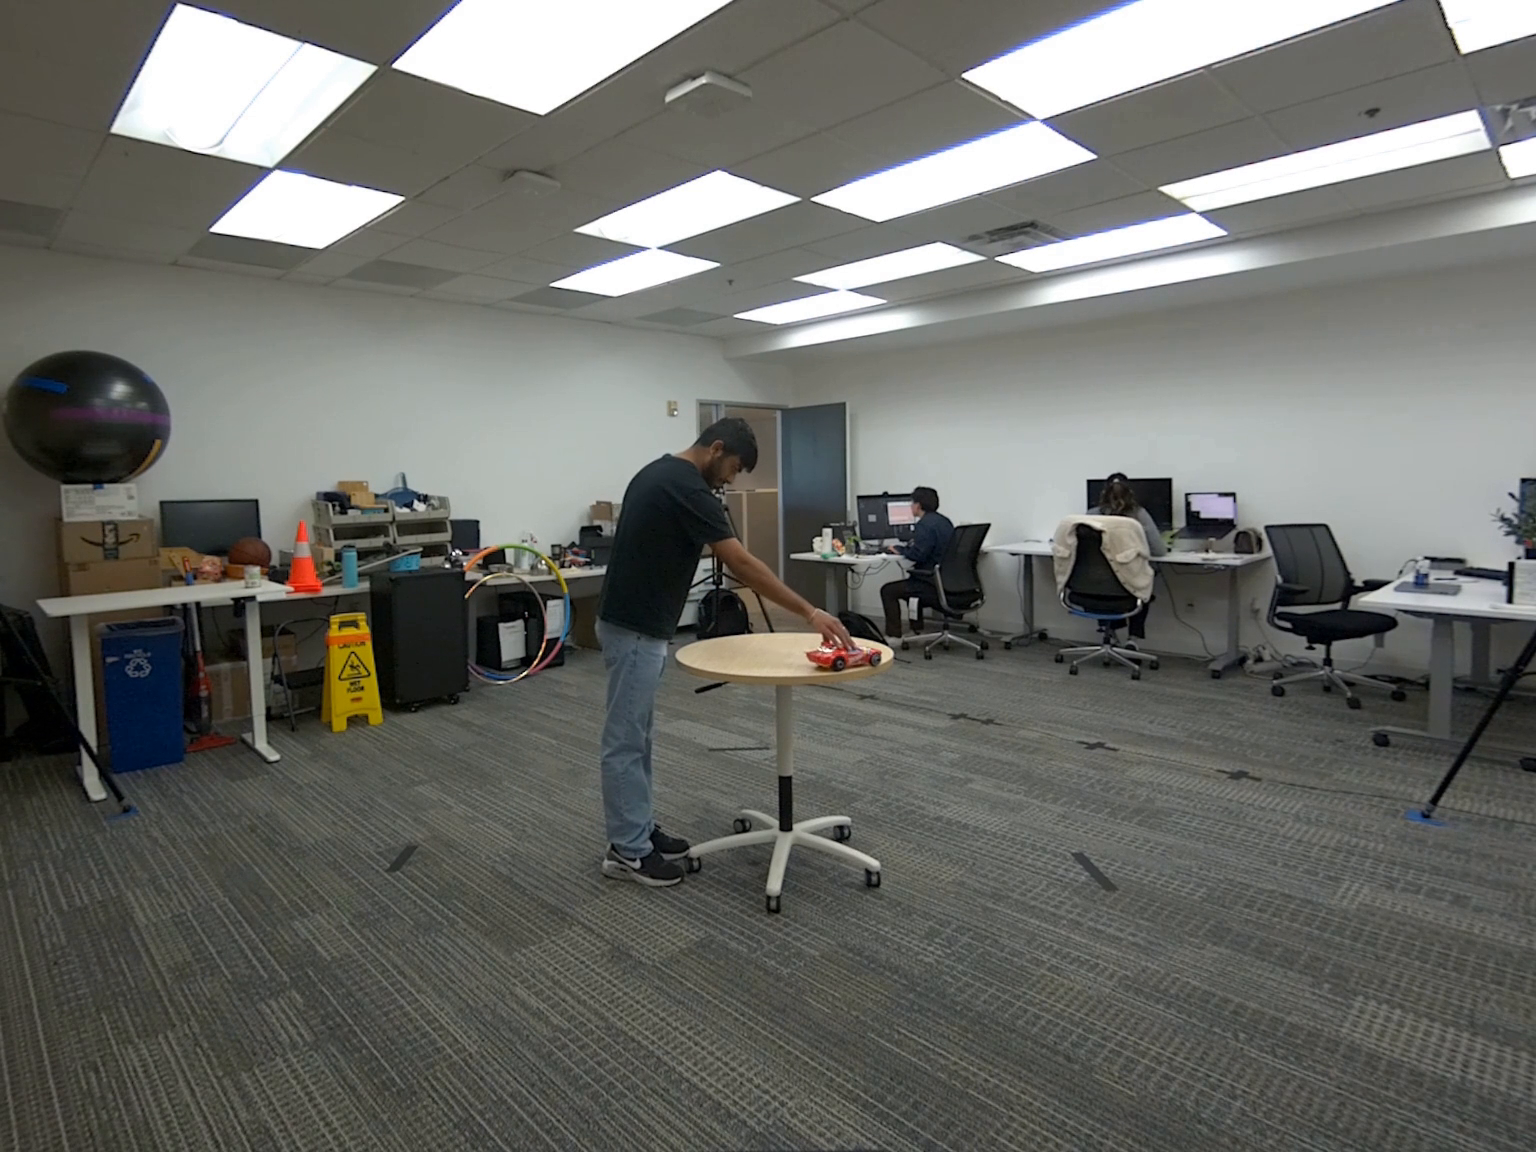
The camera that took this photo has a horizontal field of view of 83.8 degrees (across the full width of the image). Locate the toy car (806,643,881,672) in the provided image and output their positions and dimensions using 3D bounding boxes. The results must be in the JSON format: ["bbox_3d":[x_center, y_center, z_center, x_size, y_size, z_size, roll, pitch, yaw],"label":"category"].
[{"bbox_3d":[0.241,0.264,2.752,0.248,0.083,0.133,9,0,-26],"label":"toy car"}]
